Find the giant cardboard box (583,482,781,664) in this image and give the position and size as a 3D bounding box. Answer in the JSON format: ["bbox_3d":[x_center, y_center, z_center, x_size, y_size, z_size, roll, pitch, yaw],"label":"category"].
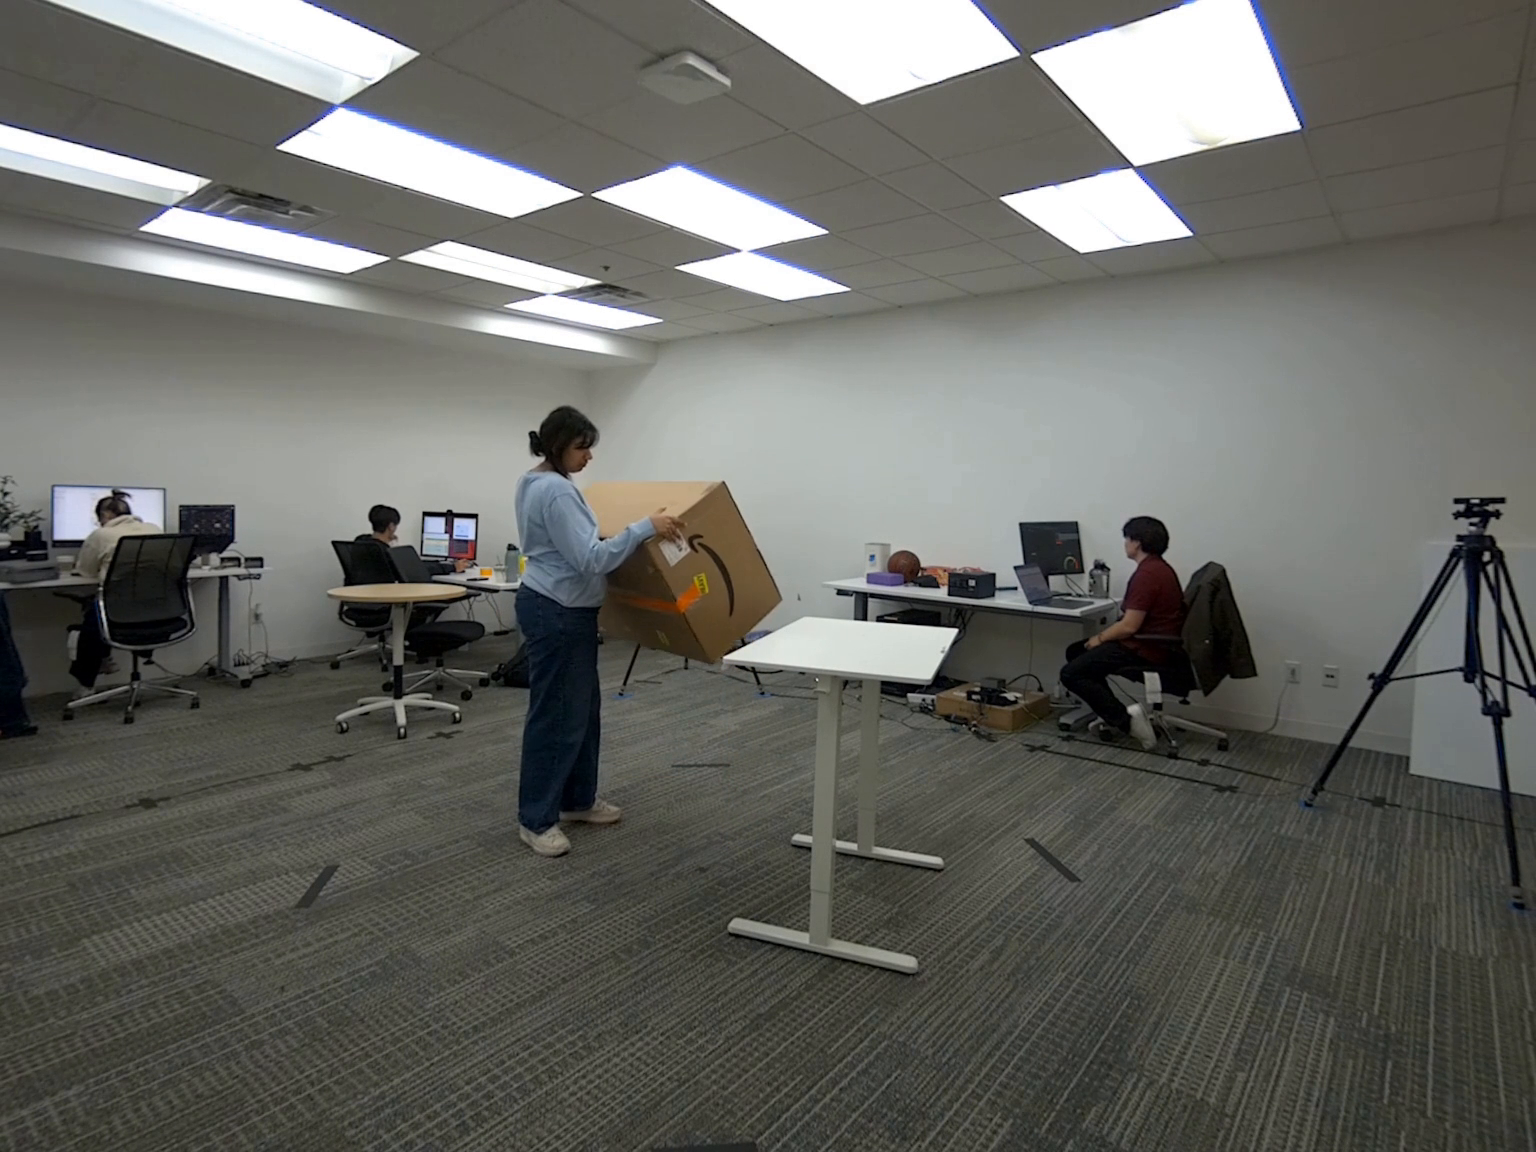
[{"bbox_3d":[-0.525,-0.059,3.650,0.424,0.561,1.060,-40,27,-29],"label":"giant cardboard box"}]
